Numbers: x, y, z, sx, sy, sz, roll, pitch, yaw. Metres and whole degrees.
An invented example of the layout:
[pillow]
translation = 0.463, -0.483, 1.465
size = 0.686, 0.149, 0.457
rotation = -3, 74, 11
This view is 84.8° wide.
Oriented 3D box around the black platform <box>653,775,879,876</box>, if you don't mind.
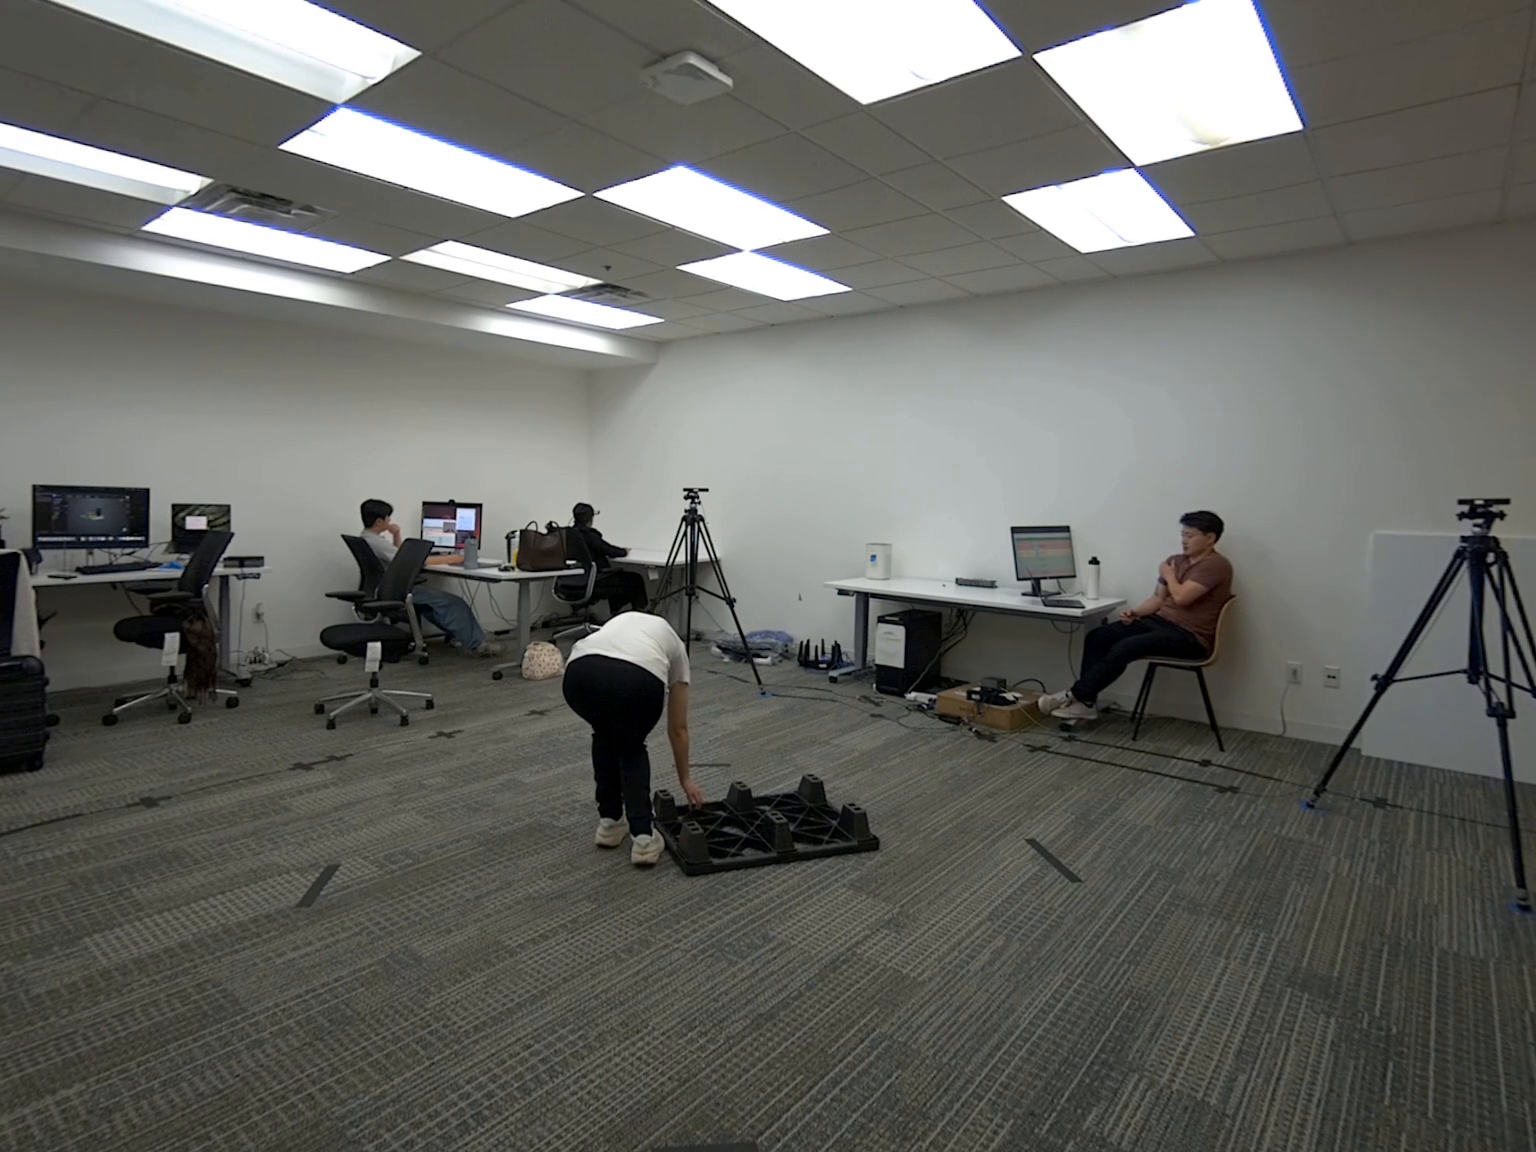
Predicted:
[black platform]
translation = -0.050, 0.971, 3.453
size = 0.788, 0.143, 0.621
rotation = -1, 6, -23
